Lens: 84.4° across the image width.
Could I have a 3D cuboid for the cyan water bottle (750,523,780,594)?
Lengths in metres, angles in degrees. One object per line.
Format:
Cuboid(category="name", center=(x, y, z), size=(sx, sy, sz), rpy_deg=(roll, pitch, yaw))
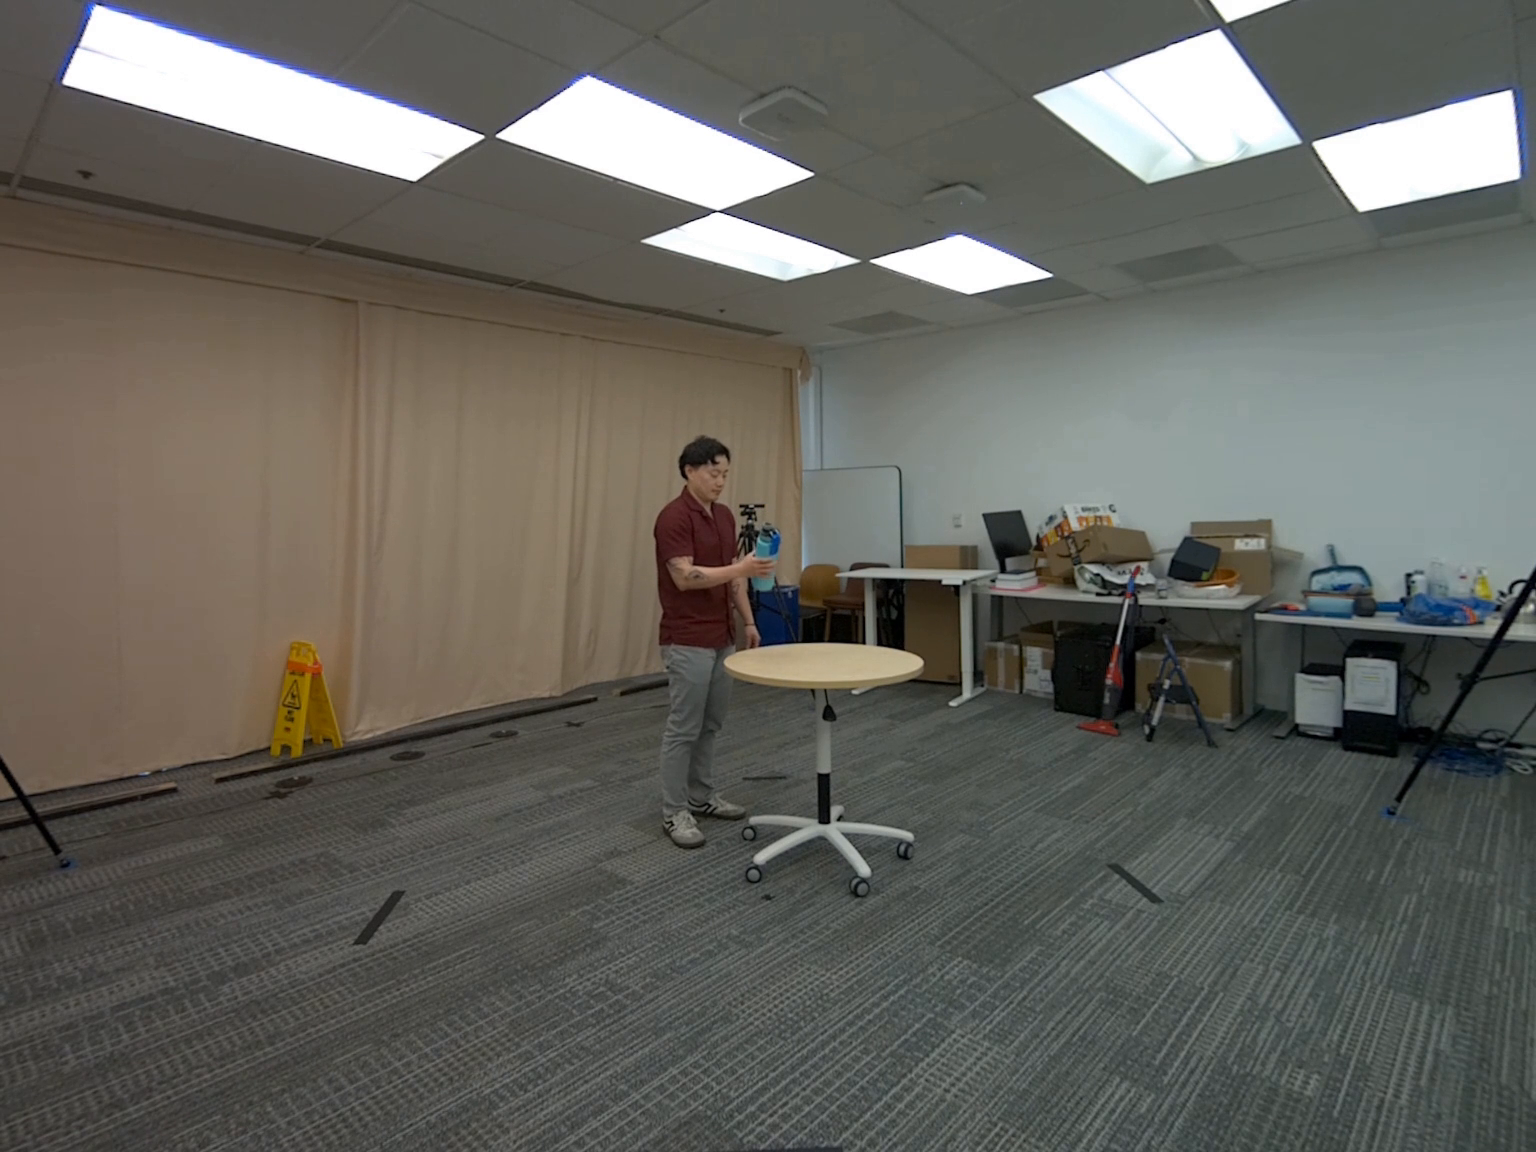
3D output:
Cuboid(category="cyan water bottle", center=(-0.002, -0.076, 3.338), size=(0.092, 0.279, 0.094), rpy_deg=(5, 36, -5))
